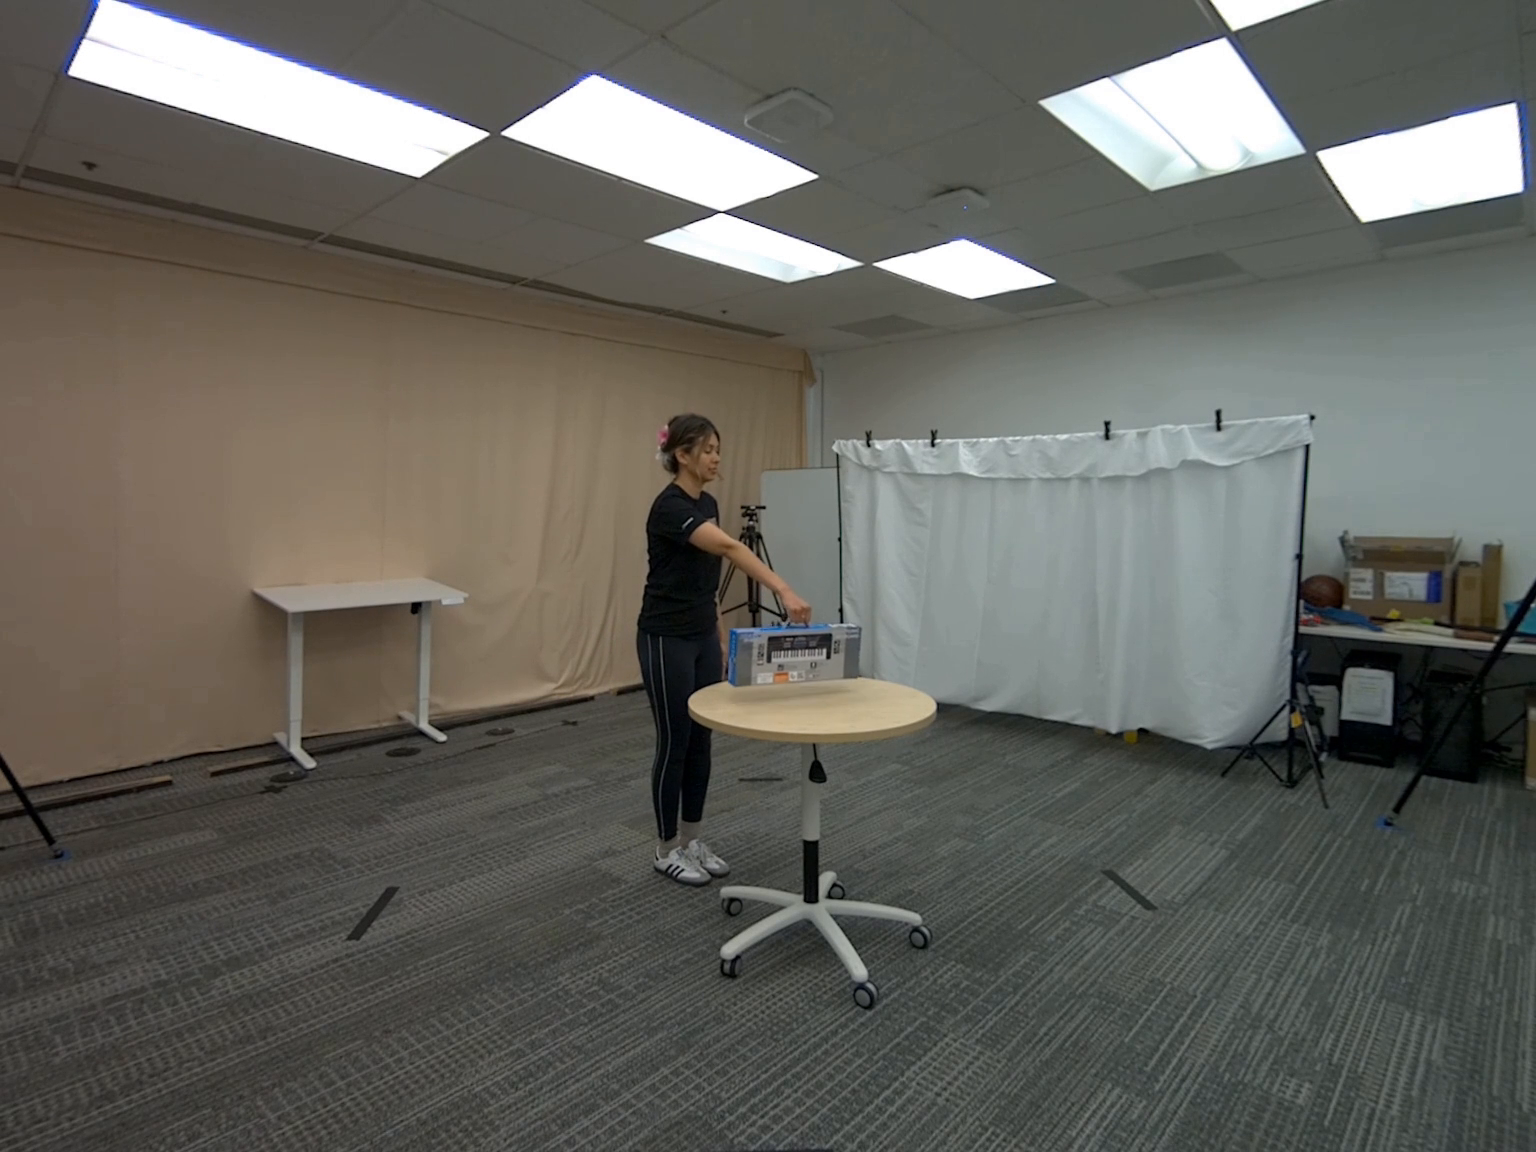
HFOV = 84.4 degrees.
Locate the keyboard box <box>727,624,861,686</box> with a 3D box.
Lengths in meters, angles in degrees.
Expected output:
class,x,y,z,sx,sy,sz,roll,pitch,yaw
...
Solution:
class,x,y,z,sx,sy,sz,roll,pitch,yaw
keyboard box,0.097,0.247,2.663,0.427,0.175,0.060,-1,6,-21
